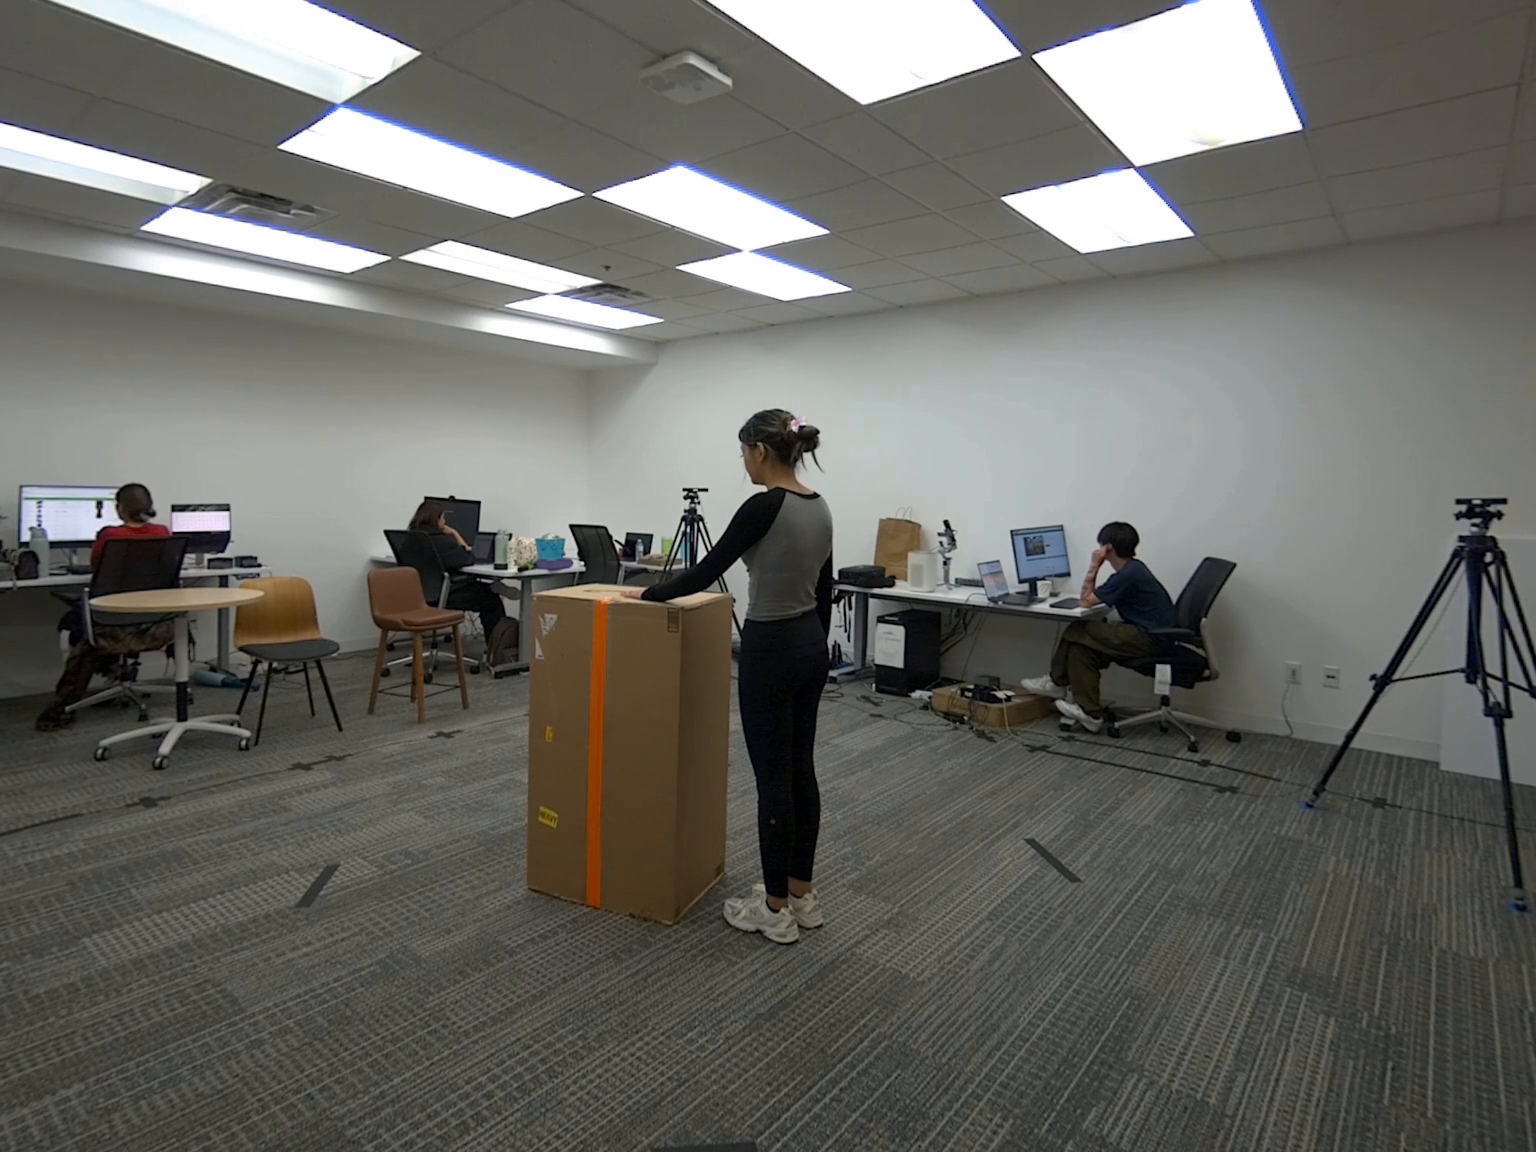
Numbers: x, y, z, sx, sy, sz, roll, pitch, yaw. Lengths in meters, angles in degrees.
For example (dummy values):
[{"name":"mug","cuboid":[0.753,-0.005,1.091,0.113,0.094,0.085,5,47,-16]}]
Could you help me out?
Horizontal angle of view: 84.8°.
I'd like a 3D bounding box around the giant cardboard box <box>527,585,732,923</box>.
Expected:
[{"name":"giant cardboard box","cuboid":[-0.495,0.572,2.979,0.598,1.025,0.437,3,3,22]}]
